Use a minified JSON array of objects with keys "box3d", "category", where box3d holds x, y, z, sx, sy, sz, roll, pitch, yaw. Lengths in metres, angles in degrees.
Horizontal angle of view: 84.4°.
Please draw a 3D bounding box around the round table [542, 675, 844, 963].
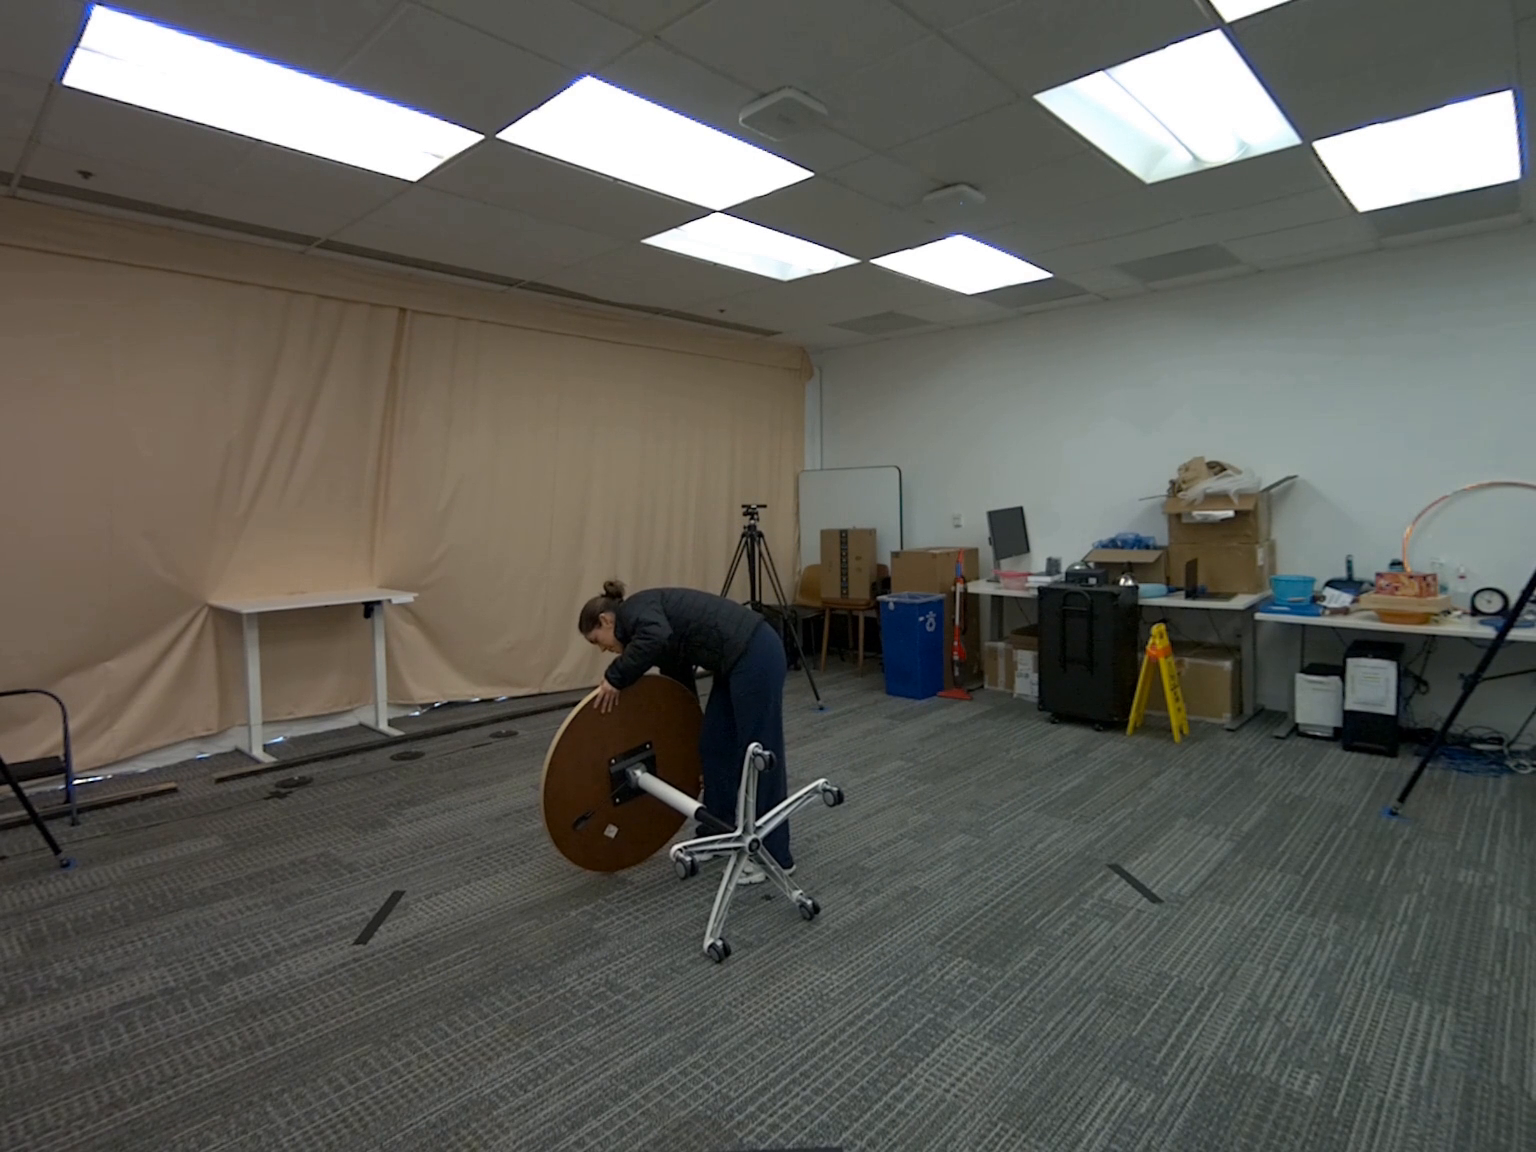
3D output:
[{"box3d":[-0.253,0.814,2.917,0.761,0.781,0.814,-4,11,-42],"category":"round table"}]
